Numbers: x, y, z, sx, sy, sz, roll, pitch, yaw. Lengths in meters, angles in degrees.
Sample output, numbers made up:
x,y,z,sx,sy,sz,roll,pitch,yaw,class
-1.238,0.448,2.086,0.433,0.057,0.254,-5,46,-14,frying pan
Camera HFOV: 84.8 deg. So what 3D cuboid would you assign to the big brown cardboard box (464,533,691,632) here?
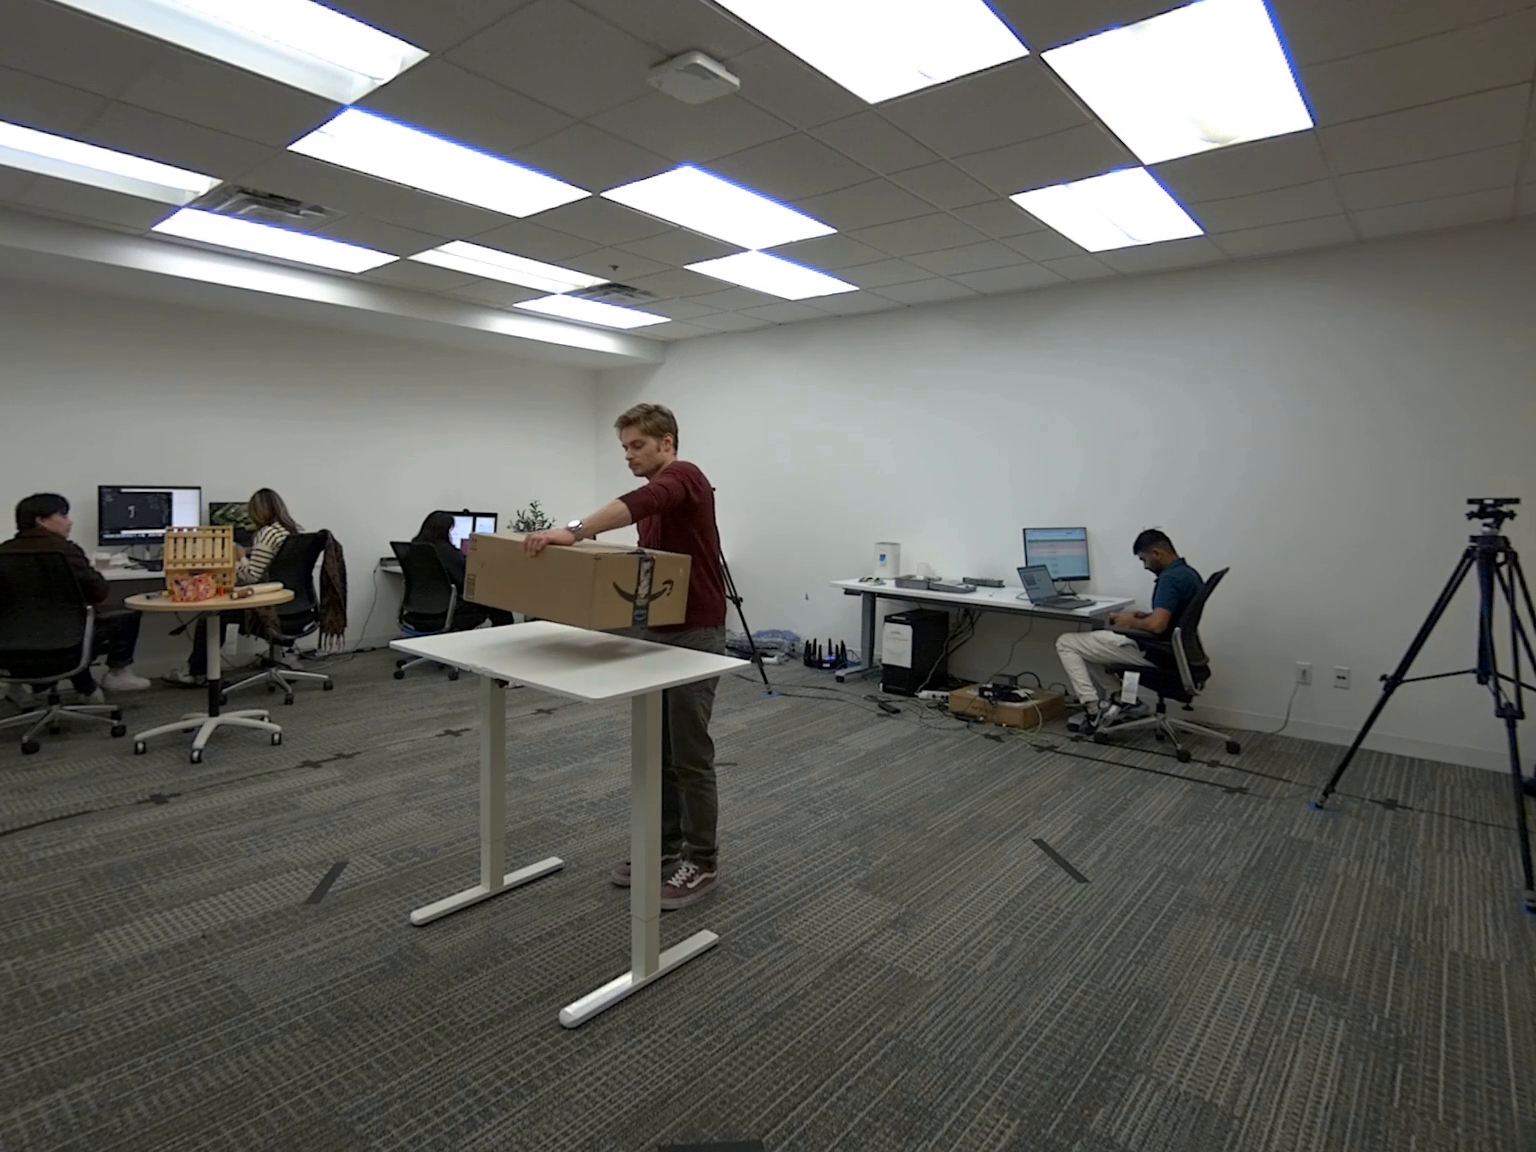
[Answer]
x,y,z,sx,sy,sz,roll,pitch,yaw,class
-0.586,0.002,2.658,0.609,0.232,0.405,8,5,35,big brown cardboard box
